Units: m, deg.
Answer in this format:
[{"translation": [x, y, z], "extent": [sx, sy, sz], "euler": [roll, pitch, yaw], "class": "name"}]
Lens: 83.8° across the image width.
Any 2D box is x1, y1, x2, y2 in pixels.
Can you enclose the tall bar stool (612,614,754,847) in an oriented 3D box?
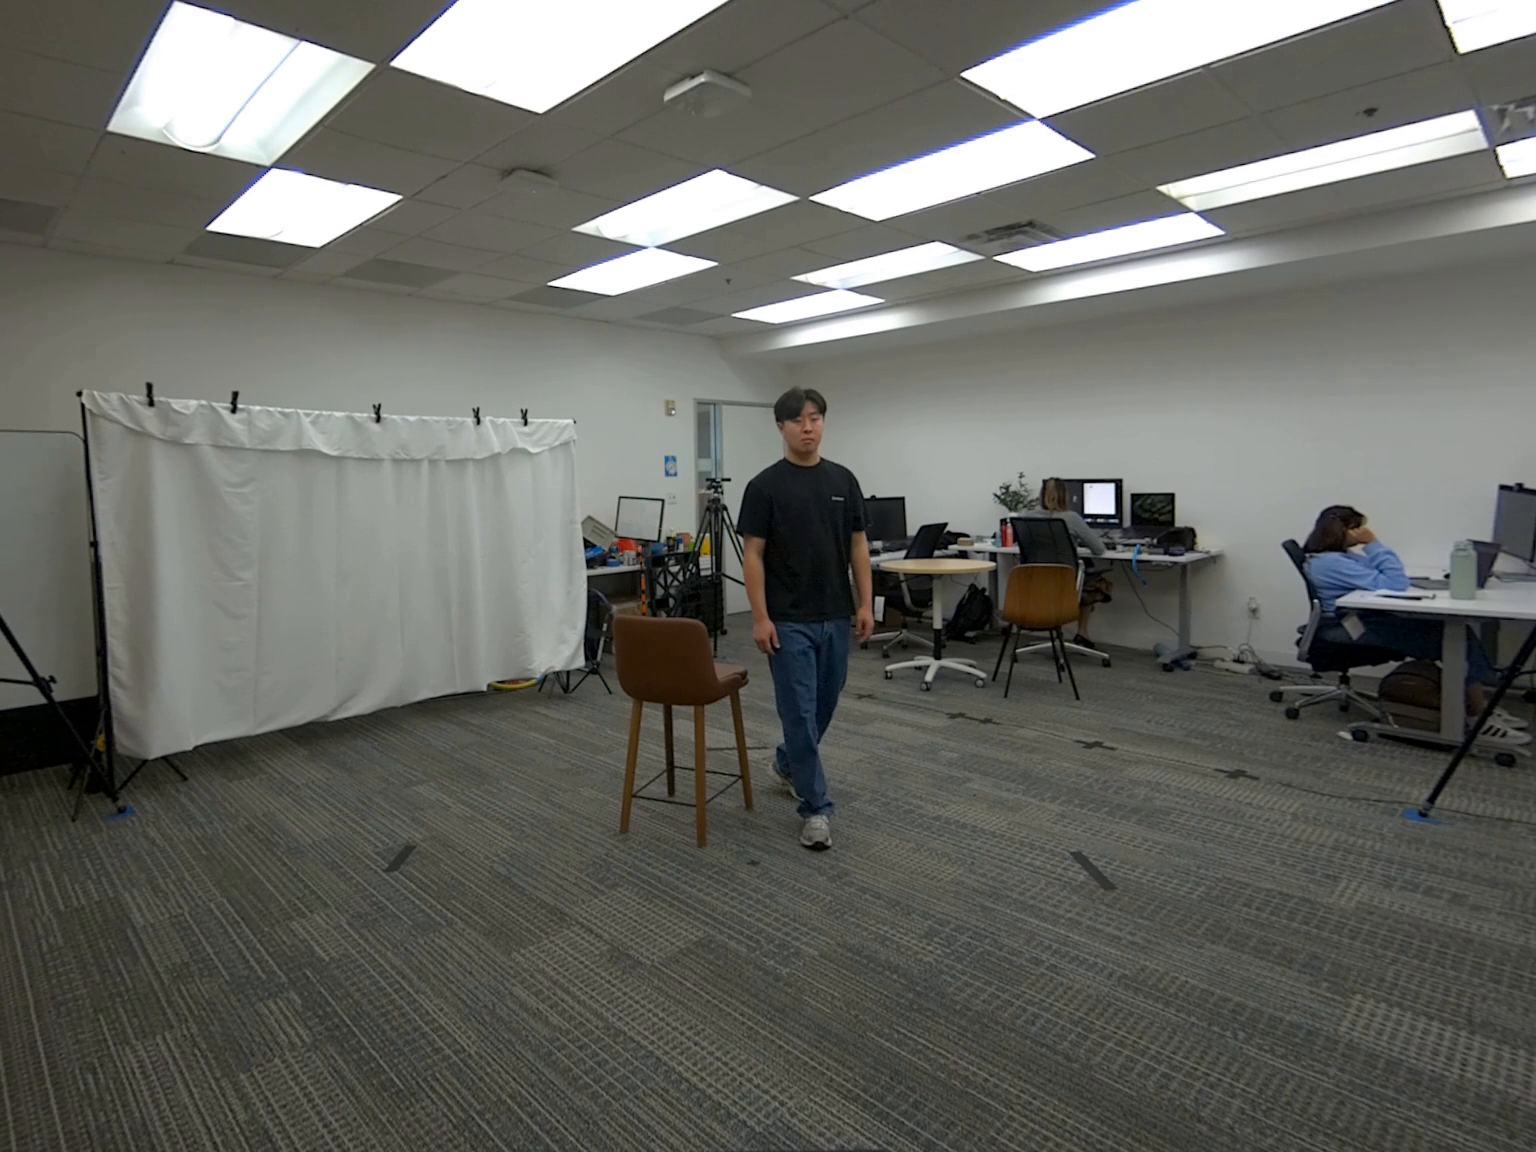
[{"translation": [-0.342, 0.568, 3.485], "extent": [0.467, 0.885, 0.459], "euler": [1, 6, 24], "class": "tall bar stool"}]
